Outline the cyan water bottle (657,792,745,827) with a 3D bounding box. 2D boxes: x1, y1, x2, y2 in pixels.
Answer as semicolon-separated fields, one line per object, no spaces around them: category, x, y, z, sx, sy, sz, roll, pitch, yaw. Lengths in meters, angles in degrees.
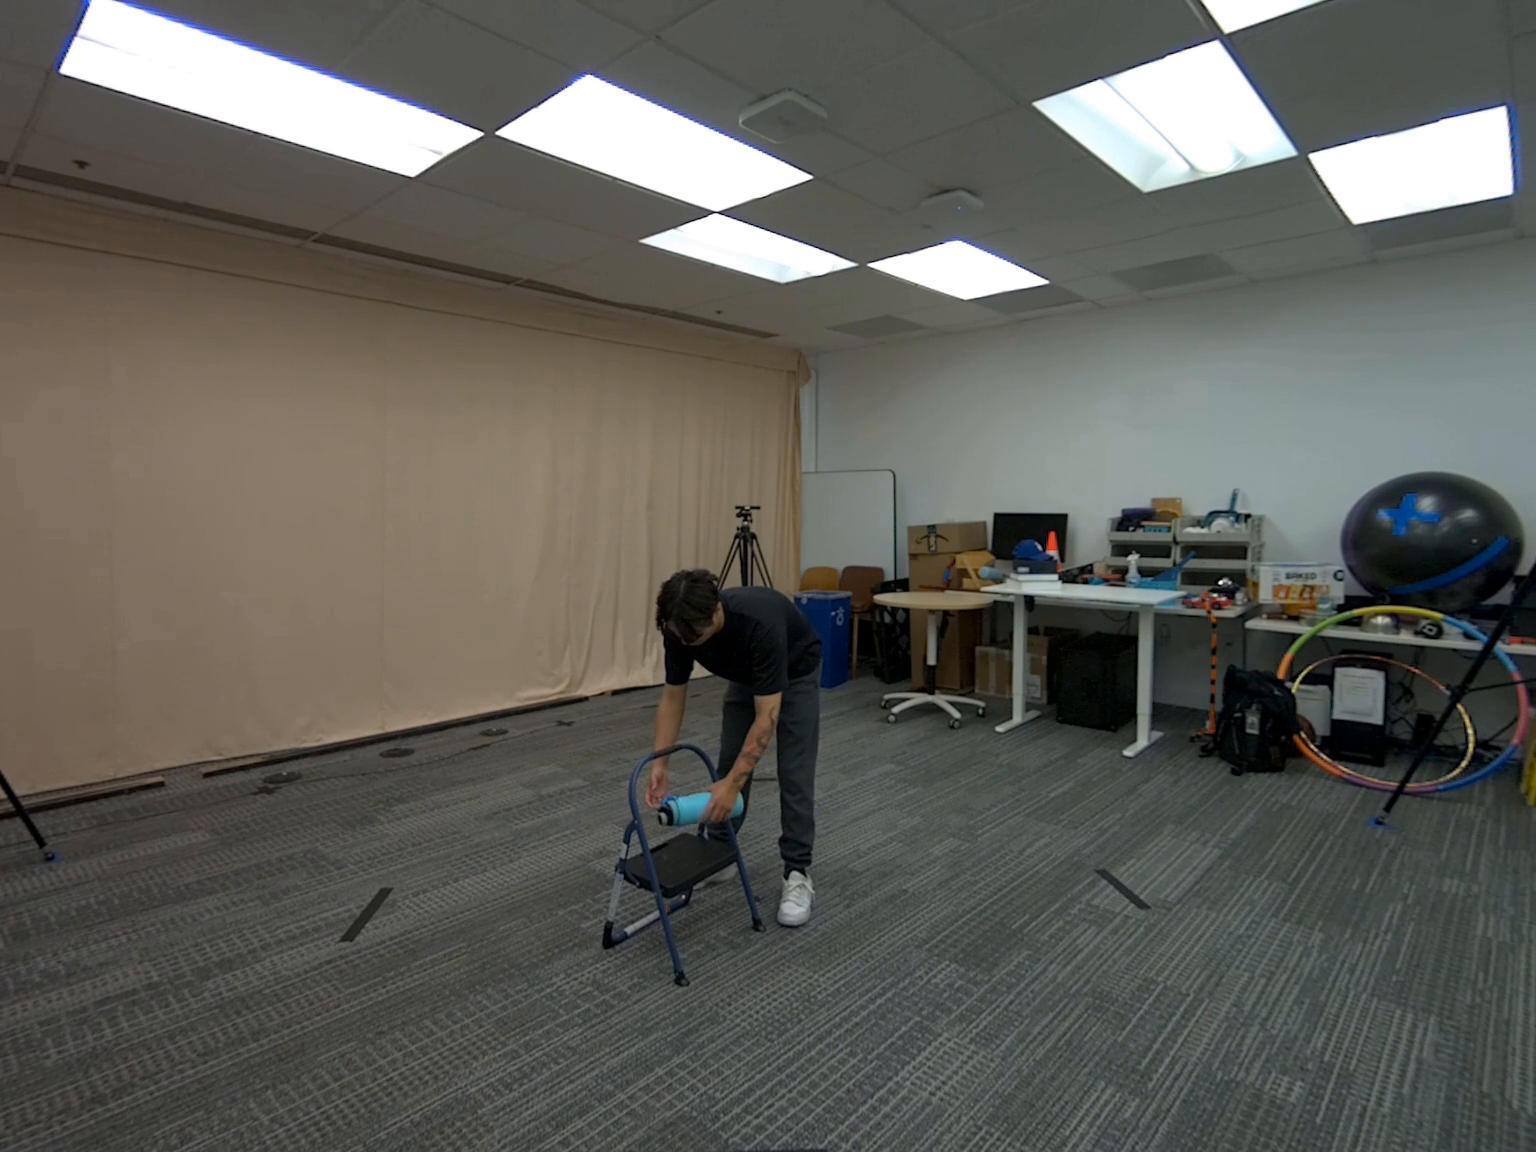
cyan water bottle;-0.212;0.732;2.652;0.276;0.092;0.095;0;3;-29
